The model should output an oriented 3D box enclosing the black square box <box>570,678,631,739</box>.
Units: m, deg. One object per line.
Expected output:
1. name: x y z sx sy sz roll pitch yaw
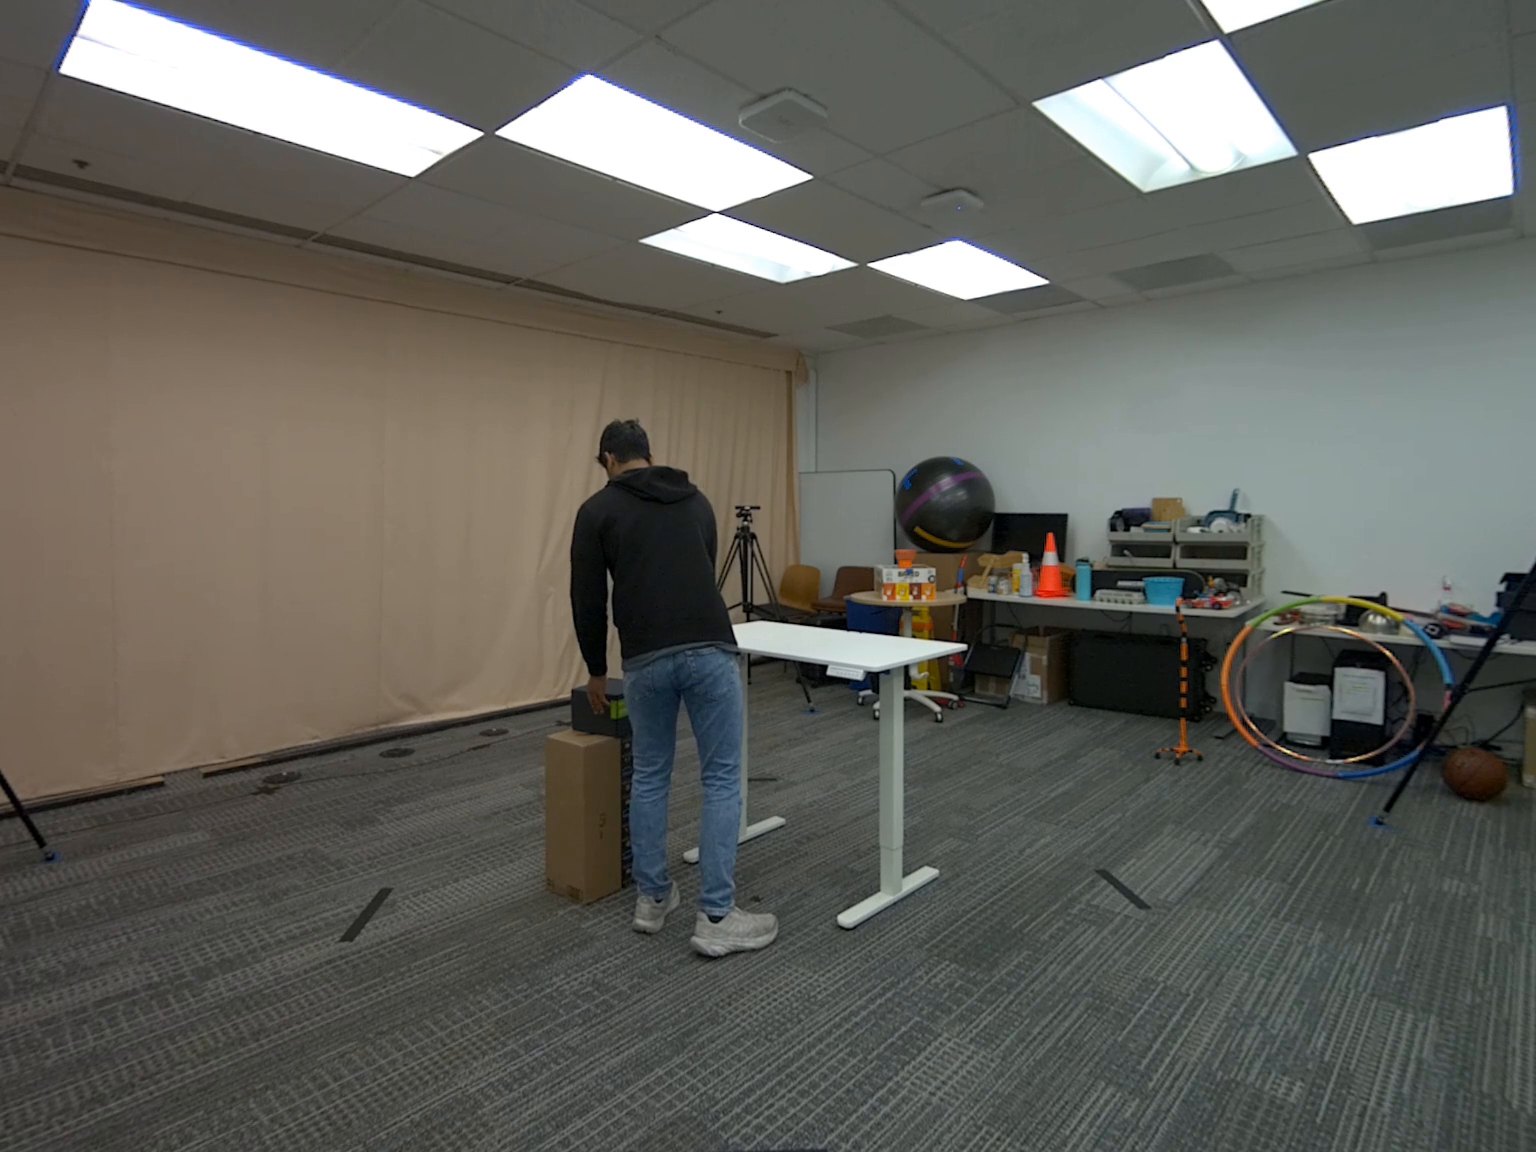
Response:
1. black square box: -0.585 0.488 3.161 0.223 0.155 0.222 3 5 28
